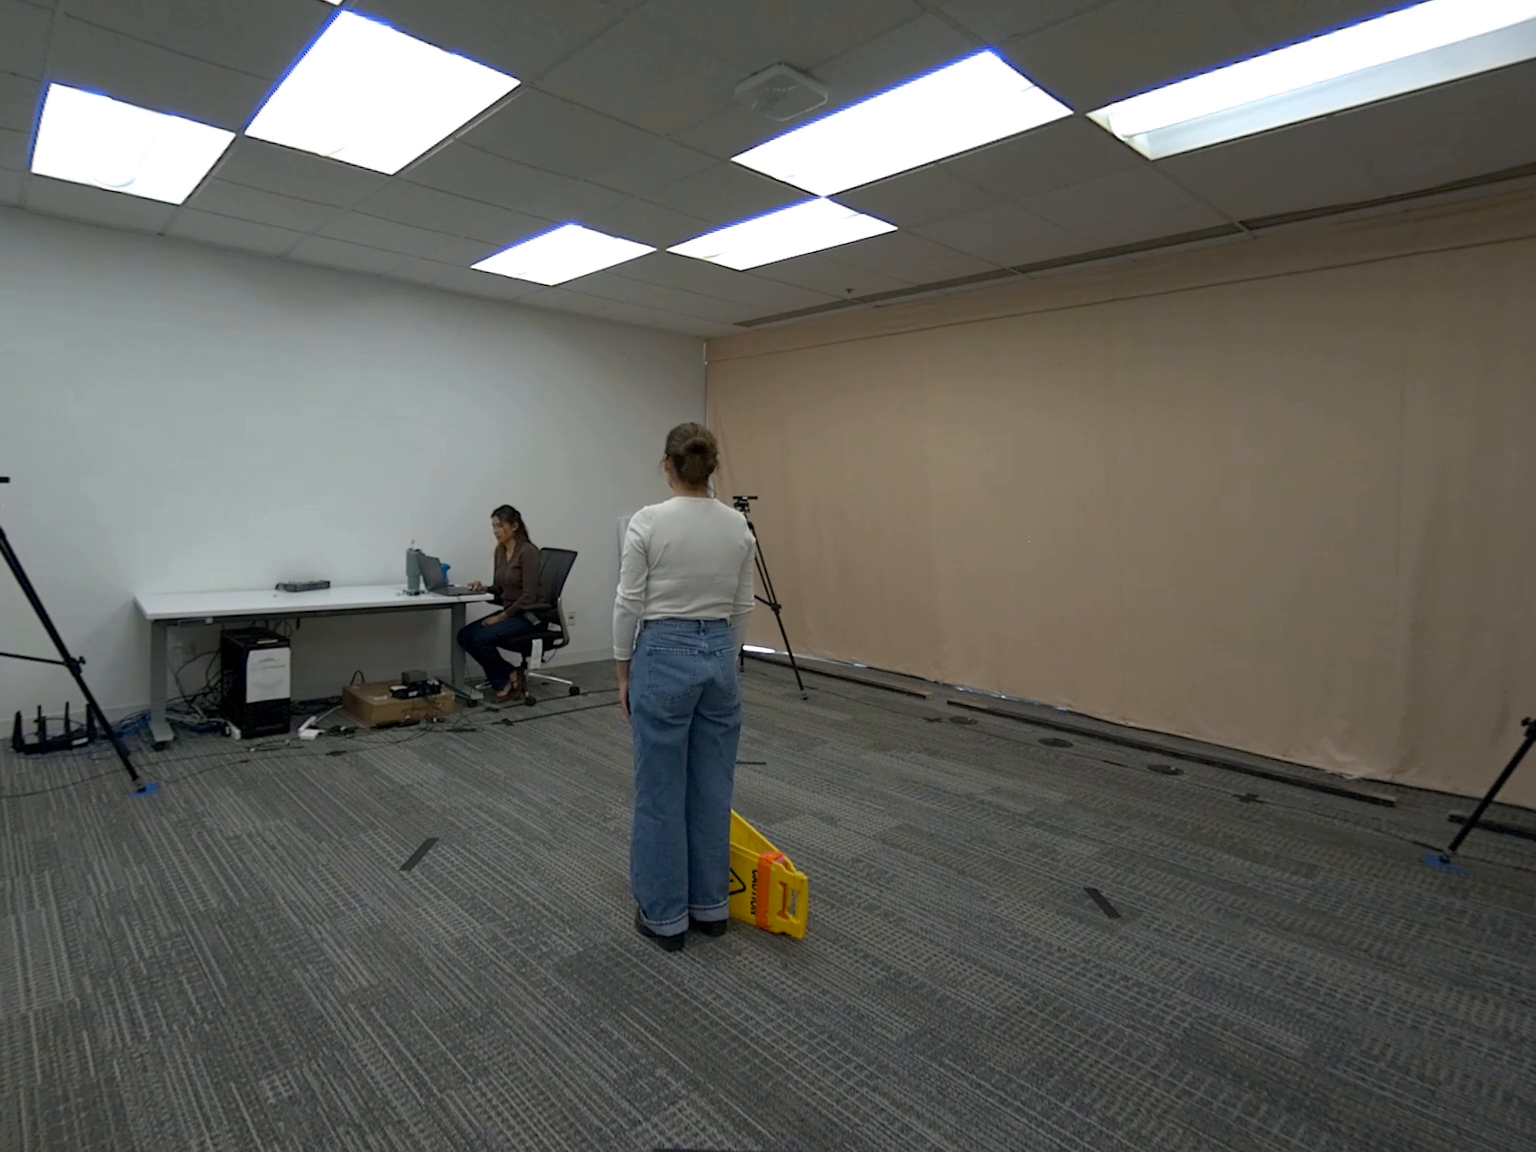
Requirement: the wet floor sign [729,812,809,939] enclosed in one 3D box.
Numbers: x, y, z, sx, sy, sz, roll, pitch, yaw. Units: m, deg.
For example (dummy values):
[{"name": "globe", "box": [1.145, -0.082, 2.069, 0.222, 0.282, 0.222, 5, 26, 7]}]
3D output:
[{"name": "wet floor sign", "box": [-0.107, 0.998, 2.856, 0.283, 0.281, 0.663, -3, 8, -42]}]
